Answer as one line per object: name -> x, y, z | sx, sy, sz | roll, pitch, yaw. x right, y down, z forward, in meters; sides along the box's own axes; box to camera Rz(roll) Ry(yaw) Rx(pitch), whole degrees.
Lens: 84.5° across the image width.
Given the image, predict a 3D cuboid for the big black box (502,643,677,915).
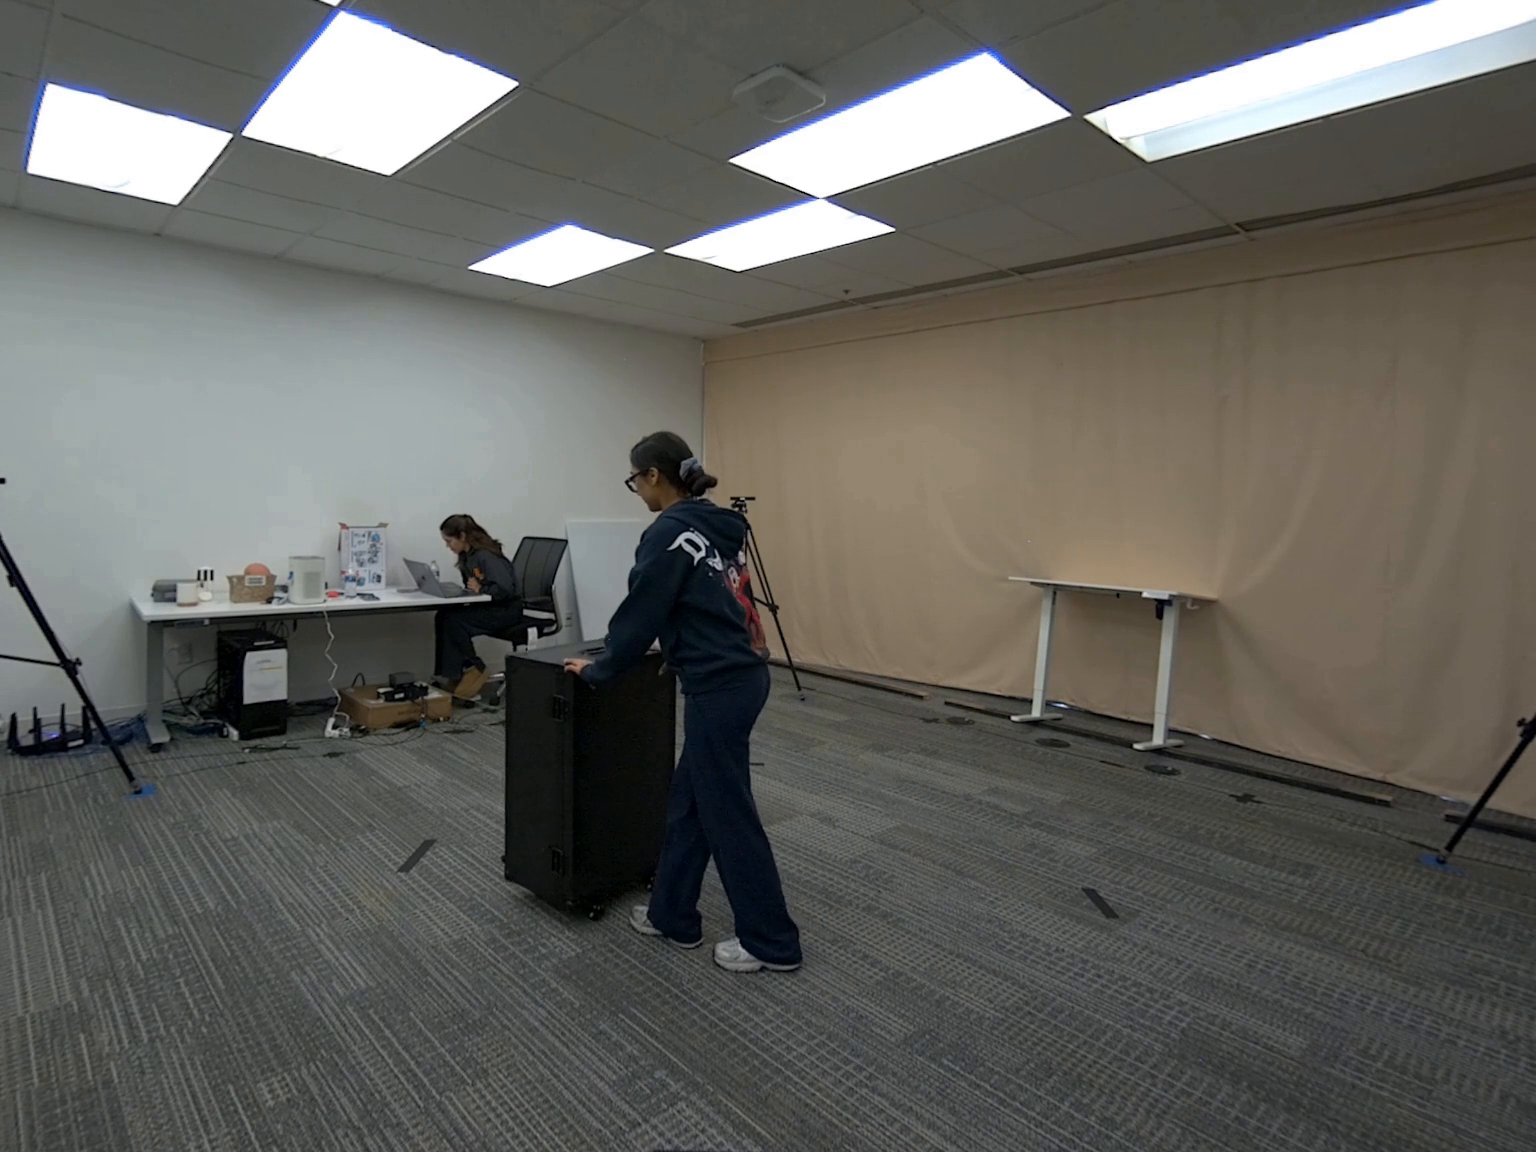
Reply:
big black box -> -0.633, 0.686, 2.949 | 0.406, 0.860, 0.510 | 3, 4, 38
